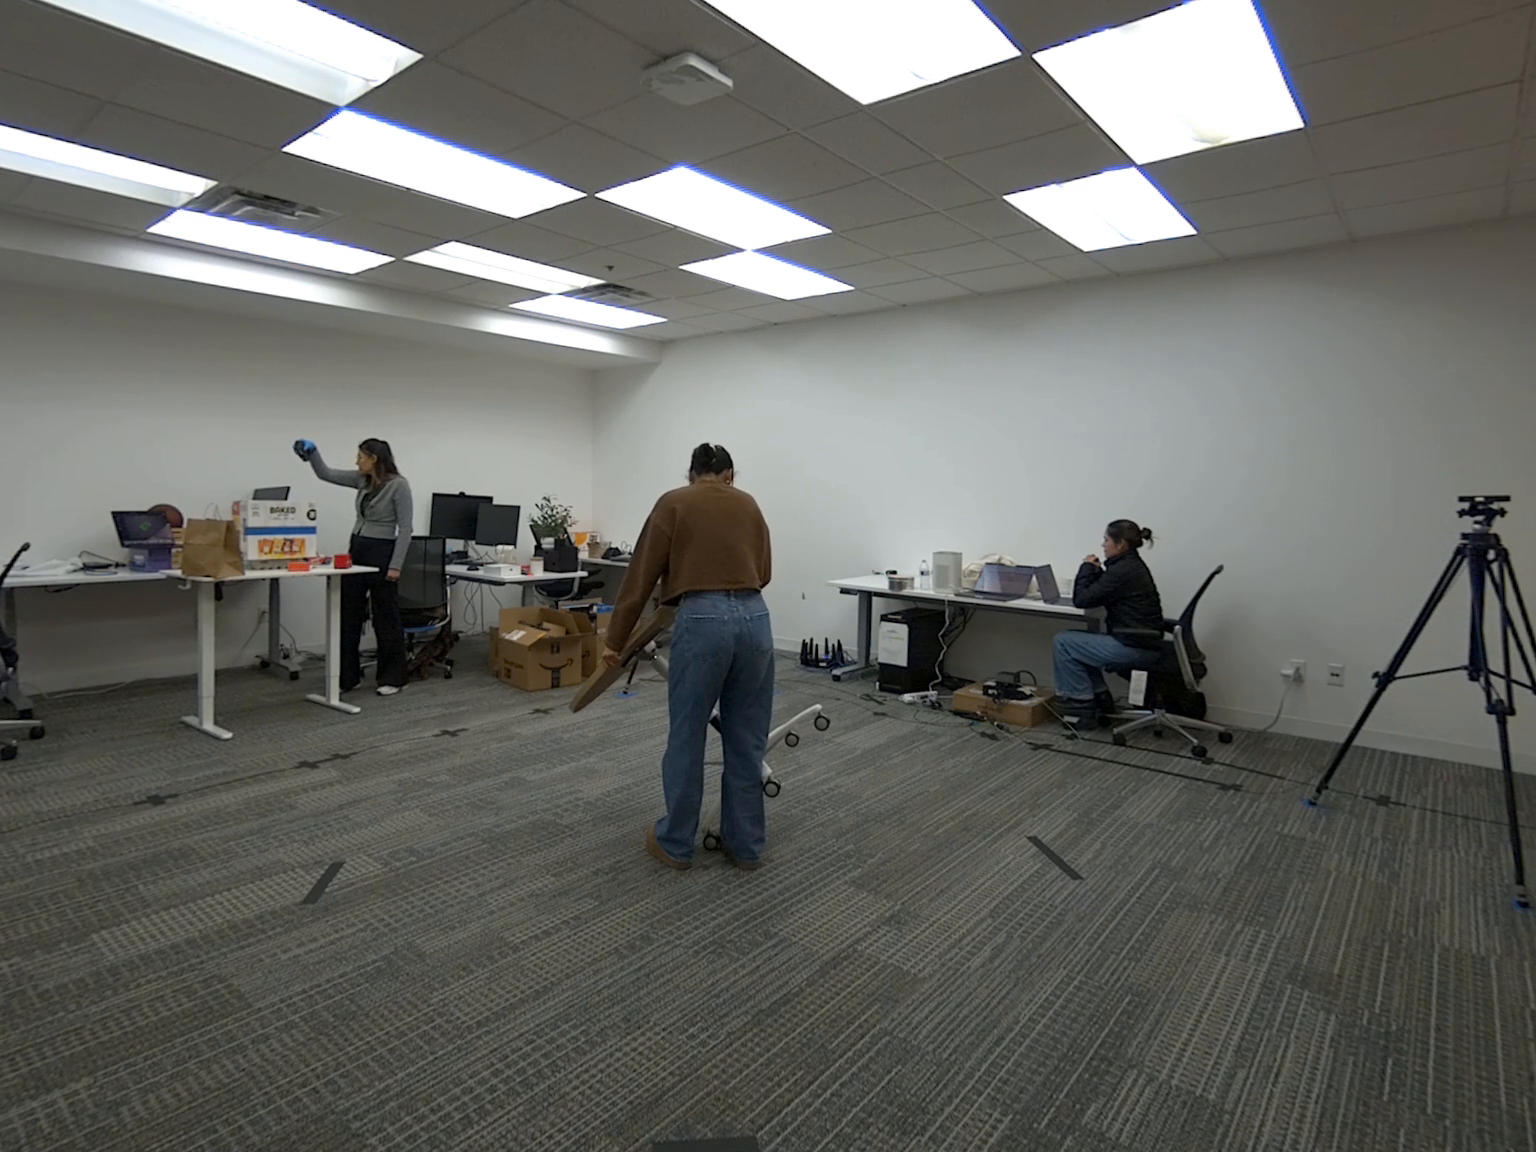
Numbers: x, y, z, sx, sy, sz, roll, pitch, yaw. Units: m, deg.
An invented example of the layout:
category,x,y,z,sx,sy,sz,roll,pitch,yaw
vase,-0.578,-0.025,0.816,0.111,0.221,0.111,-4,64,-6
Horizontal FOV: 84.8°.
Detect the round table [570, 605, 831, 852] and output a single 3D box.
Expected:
category,x,y,z,sx,sy,sz,roll,pitch,yaw
round table,-0.263,0.546,3.477,0.800,0.764,0.758,45,9,4
